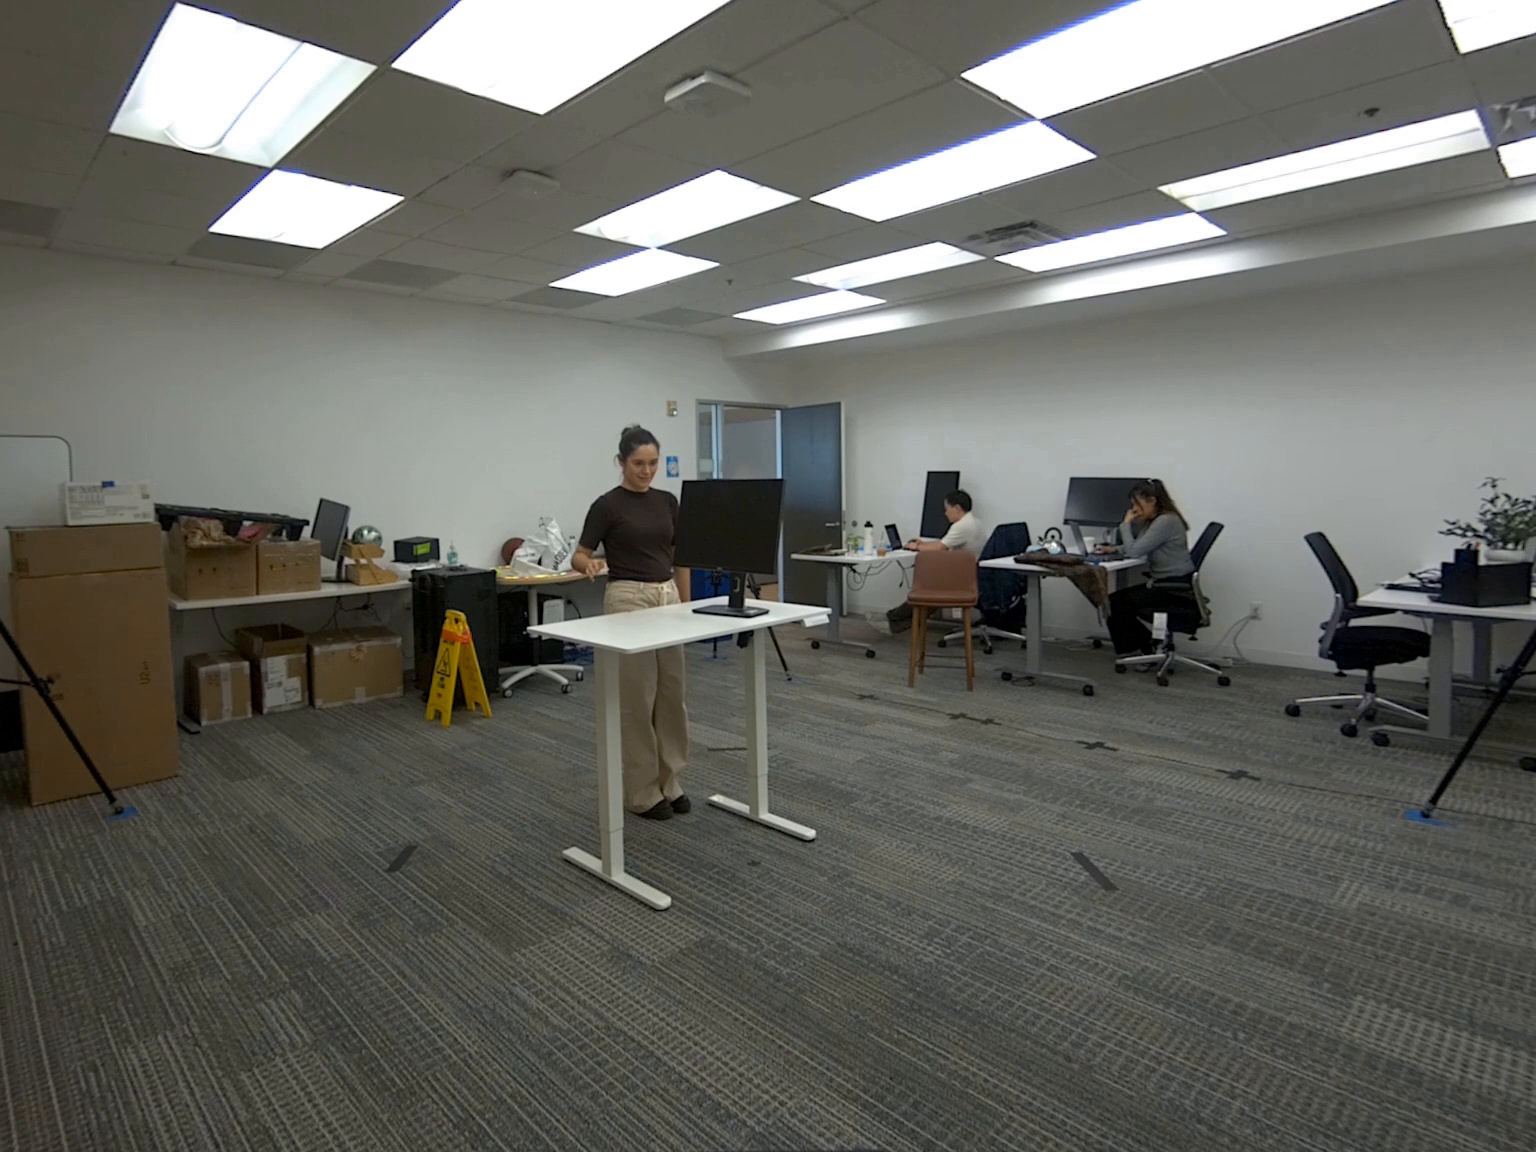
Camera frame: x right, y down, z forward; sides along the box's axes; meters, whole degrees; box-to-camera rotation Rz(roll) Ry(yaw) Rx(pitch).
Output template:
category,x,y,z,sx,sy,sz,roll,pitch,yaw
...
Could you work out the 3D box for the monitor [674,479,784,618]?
category,x,y,z,sx,sy,sz,roll,pitch,yaw
monitor,-0.141,-0.109,3.278,0.556,0.520,0.182,4,6,43
